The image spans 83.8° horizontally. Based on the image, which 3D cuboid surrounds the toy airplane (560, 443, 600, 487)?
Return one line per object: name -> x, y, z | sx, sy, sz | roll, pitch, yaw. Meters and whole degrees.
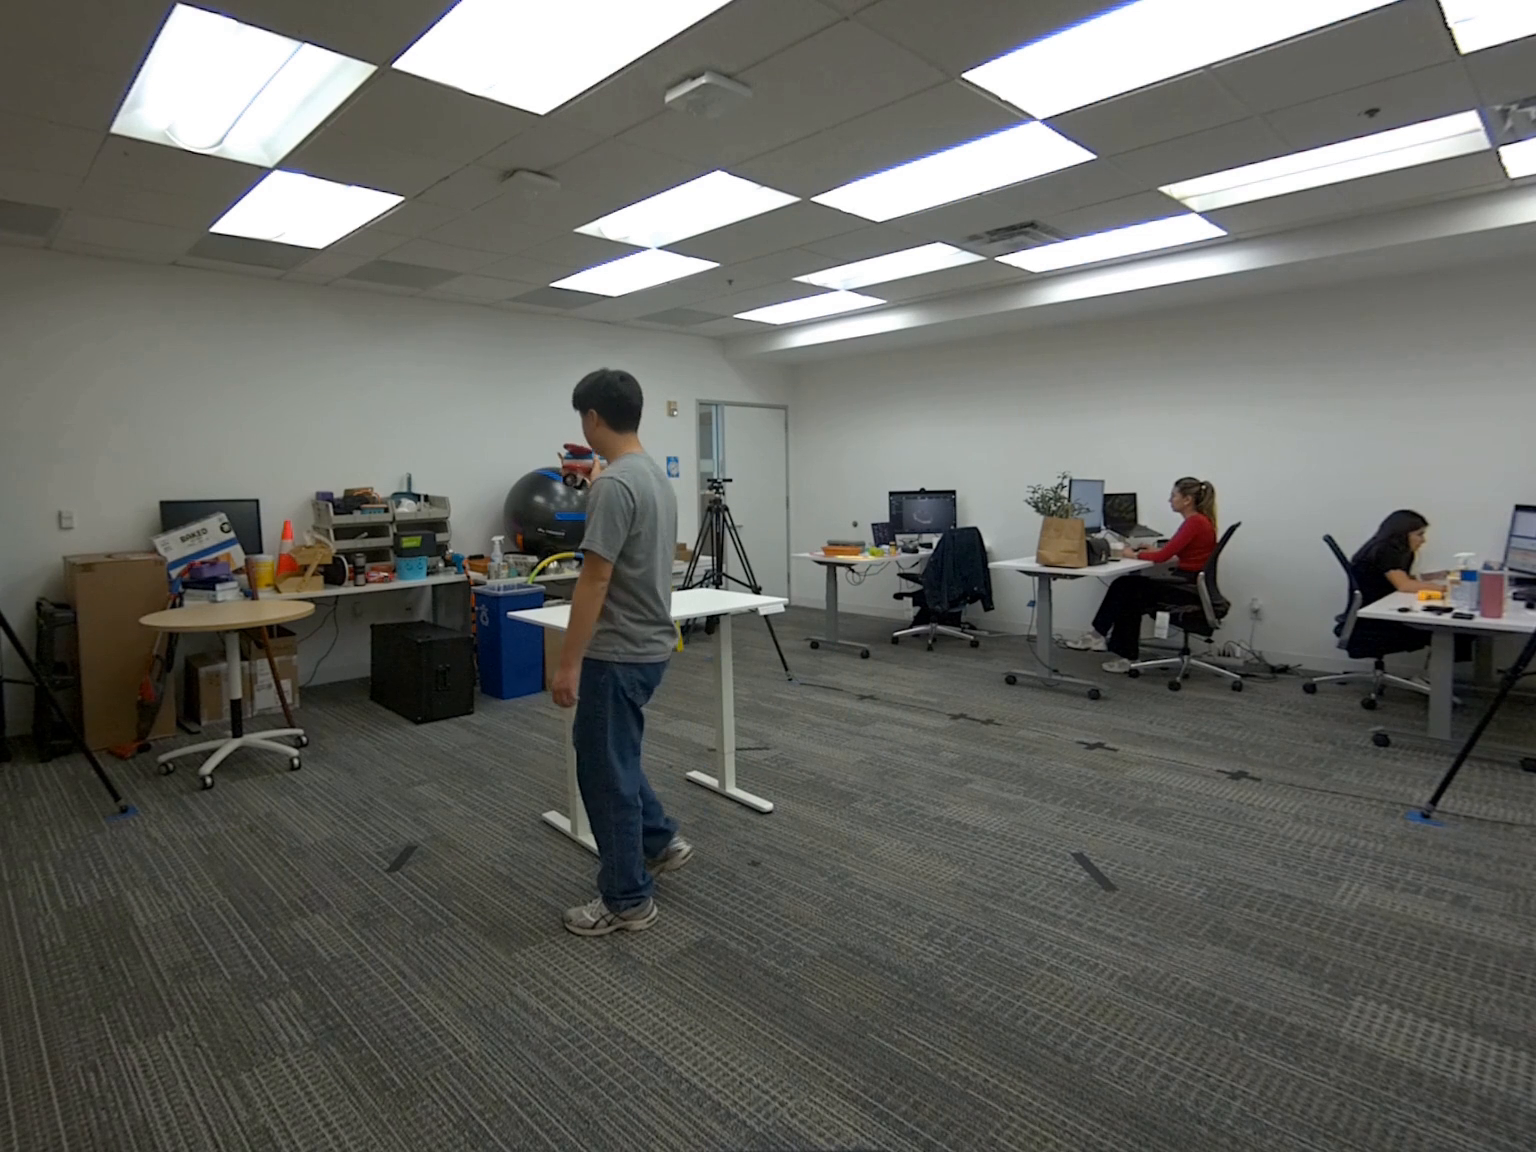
toy airplane -> -0.678, -0.430, 3.342 | 0.256, 0.158, 0.252 | -9, -7, -16
